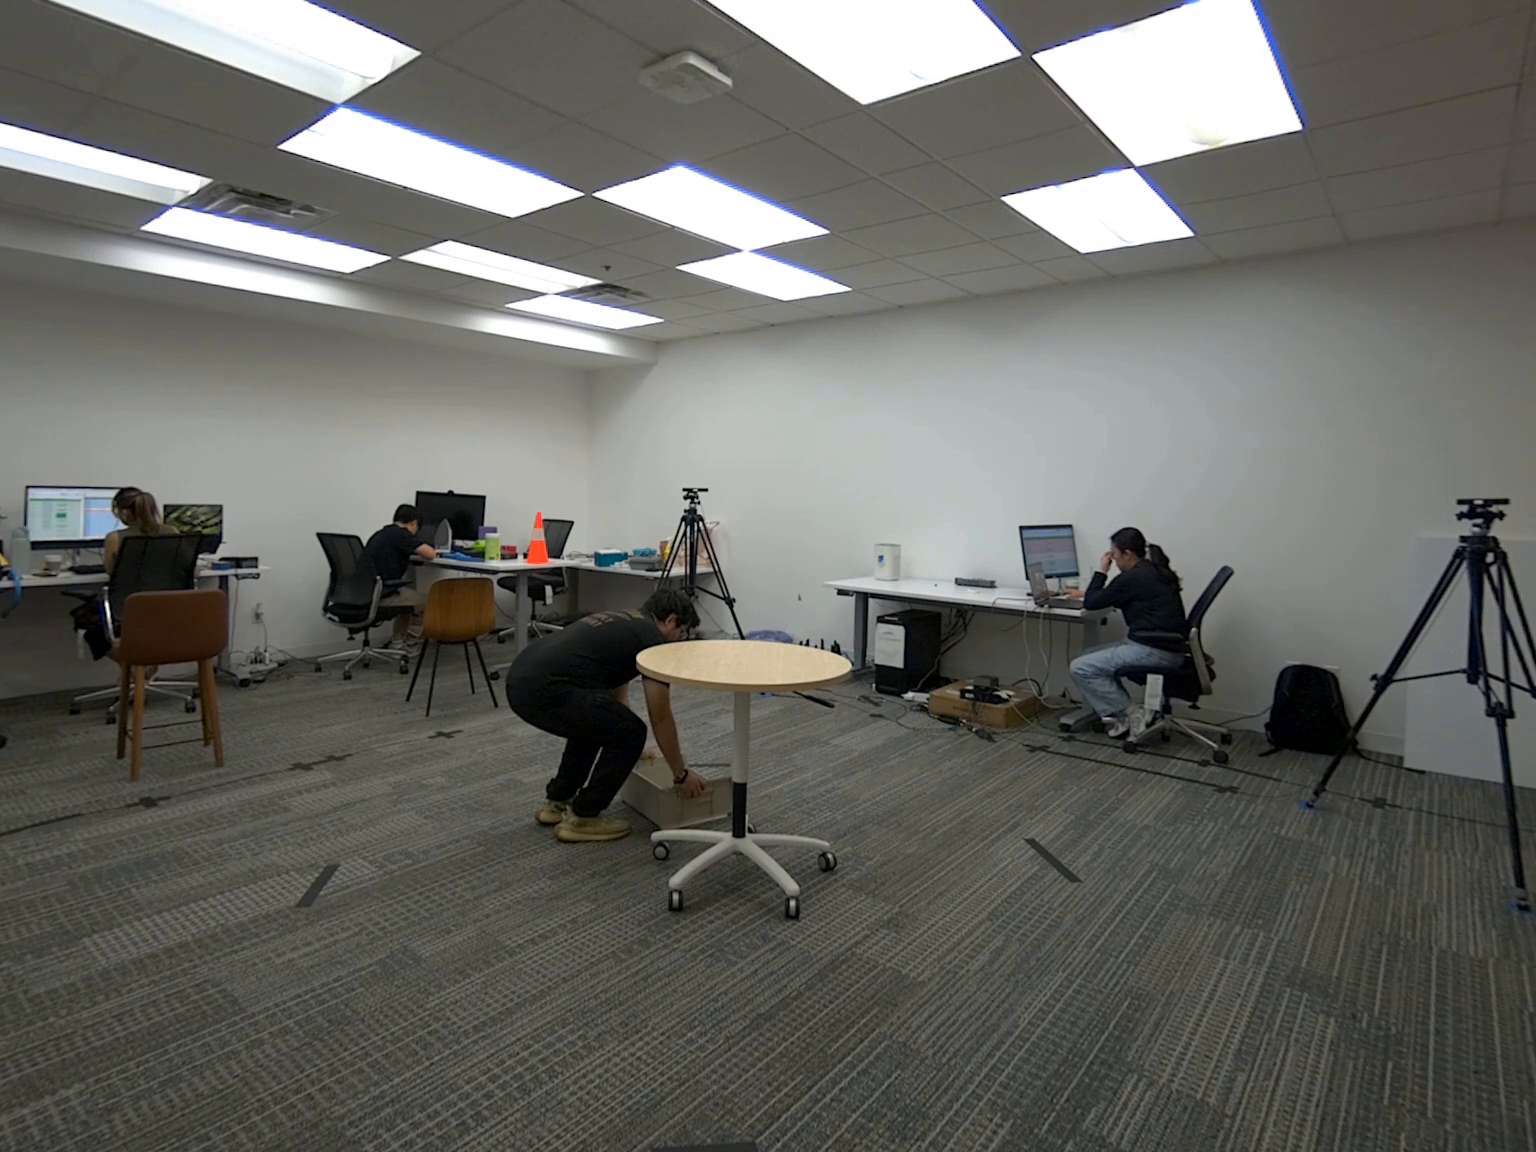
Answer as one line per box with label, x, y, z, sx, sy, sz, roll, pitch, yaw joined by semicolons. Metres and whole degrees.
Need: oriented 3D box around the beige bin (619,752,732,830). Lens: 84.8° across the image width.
beige bin;-0.417;0.918;3.707;0.367;0.188;0.436;-4;8;-35
